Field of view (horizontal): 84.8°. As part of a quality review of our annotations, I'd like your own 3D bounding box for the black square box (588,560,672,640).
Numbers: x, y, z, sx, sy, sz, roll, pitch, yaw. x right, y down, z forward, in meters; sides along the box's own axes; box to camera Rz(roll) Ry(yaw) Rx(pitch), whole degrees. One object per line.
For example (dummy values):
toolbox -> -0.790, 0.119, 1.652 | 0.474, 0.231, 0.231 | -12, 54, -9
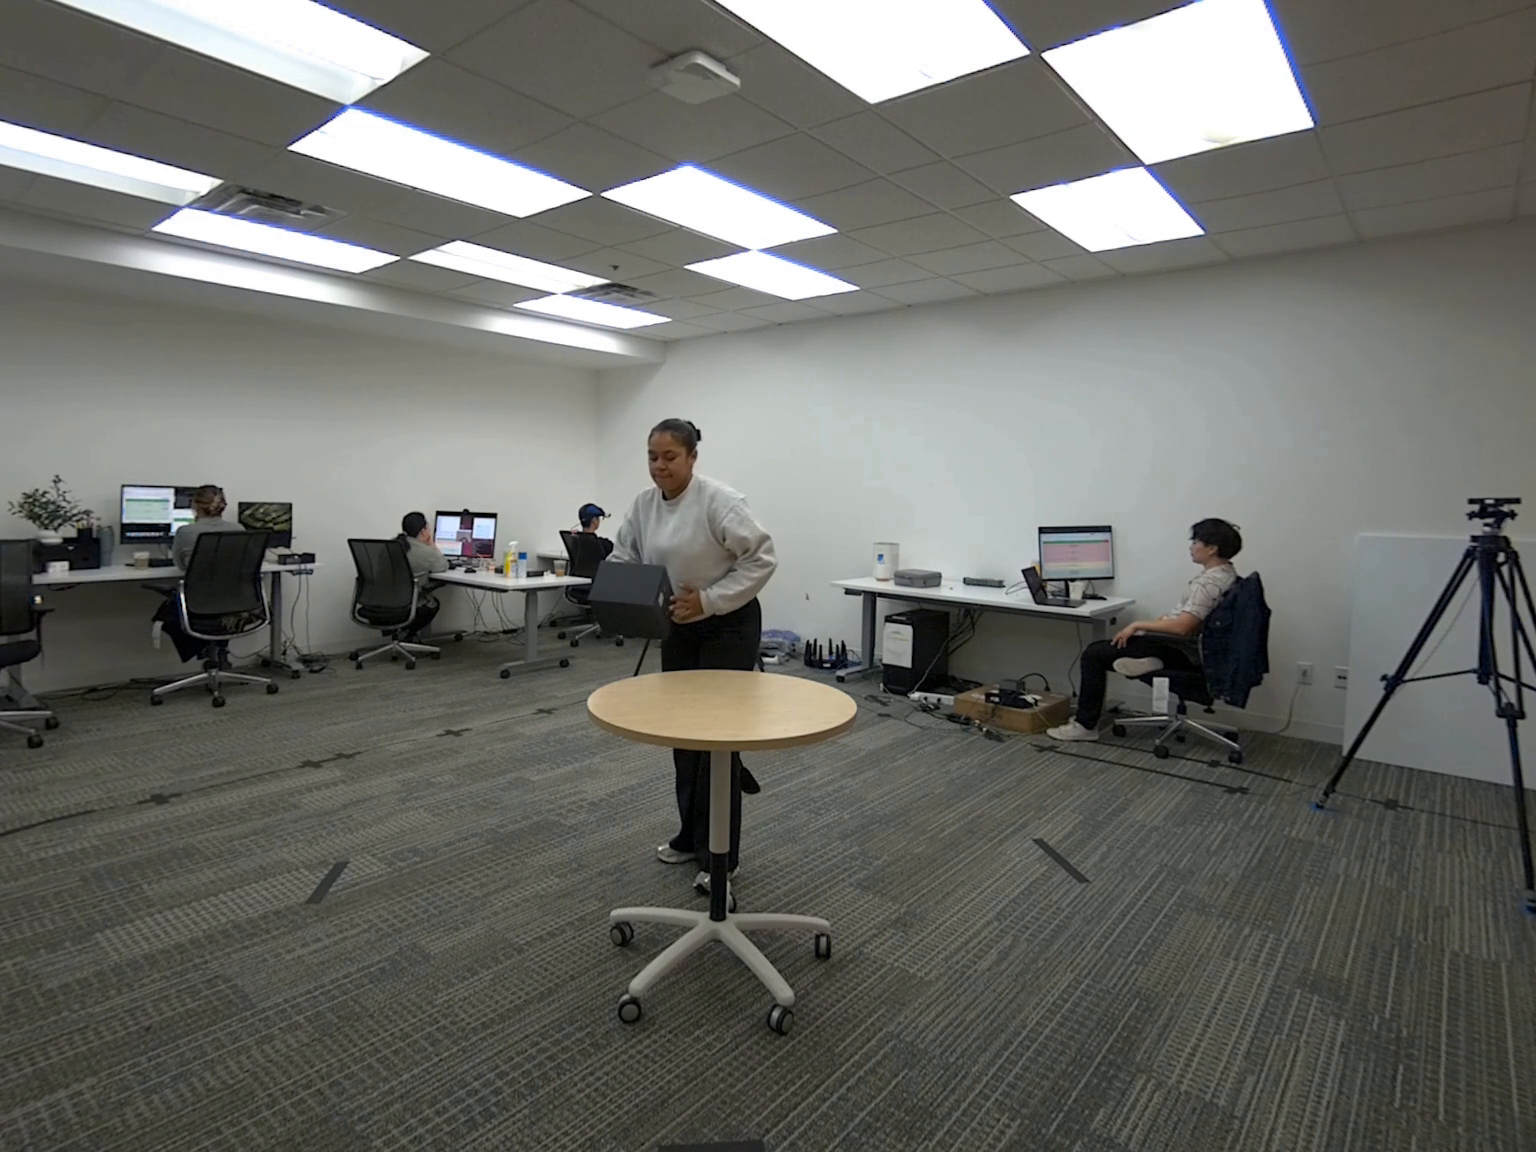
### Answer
black square box -> -0.446, 0.096, 2.814 | 0.232, 0.159, 0.209 | 4, -34, 14
